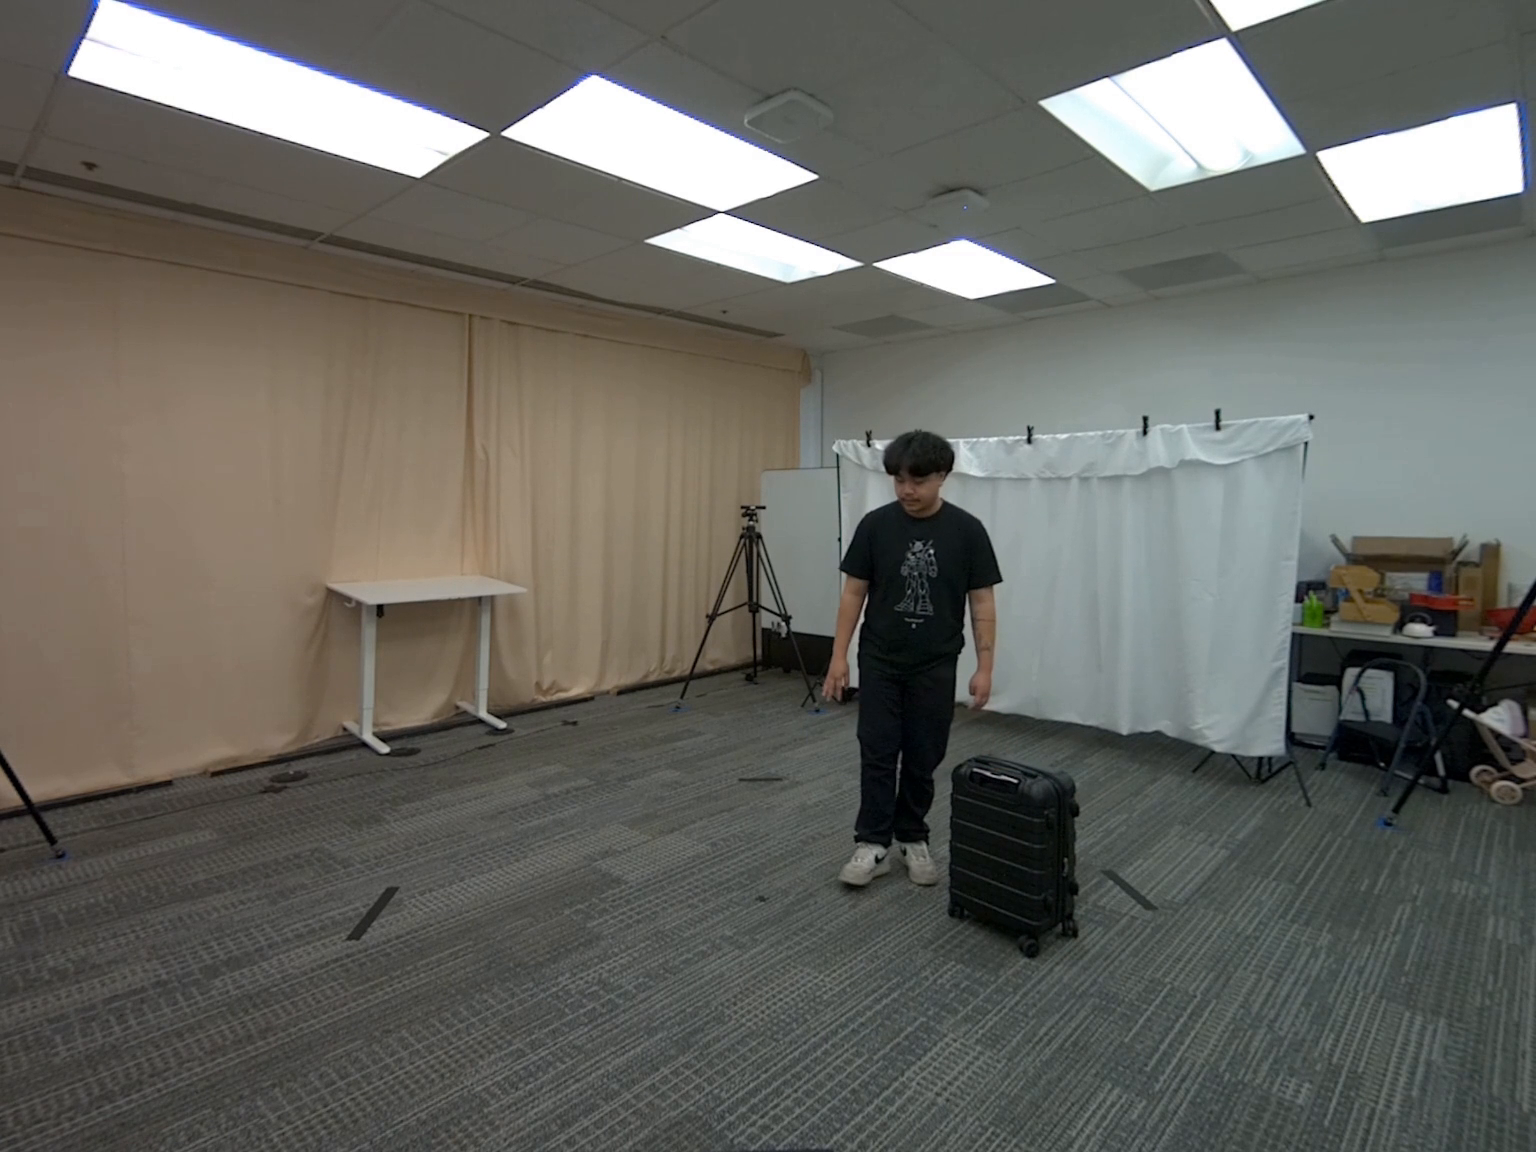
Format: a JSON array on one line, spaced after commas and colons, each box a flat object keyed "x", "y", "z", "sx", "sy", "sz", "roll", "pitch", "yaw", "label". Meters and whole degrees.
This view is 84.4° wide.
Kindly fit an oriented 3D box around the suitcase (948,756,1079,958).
[{"x": 0.815, "y": 0.884, "z": 2.779, "sx": 0.241, "sy": 0.548, "sz": 0.388, "roll": -2, "pitch": 4, "yaw": -40, "label": "suitcase"}]
